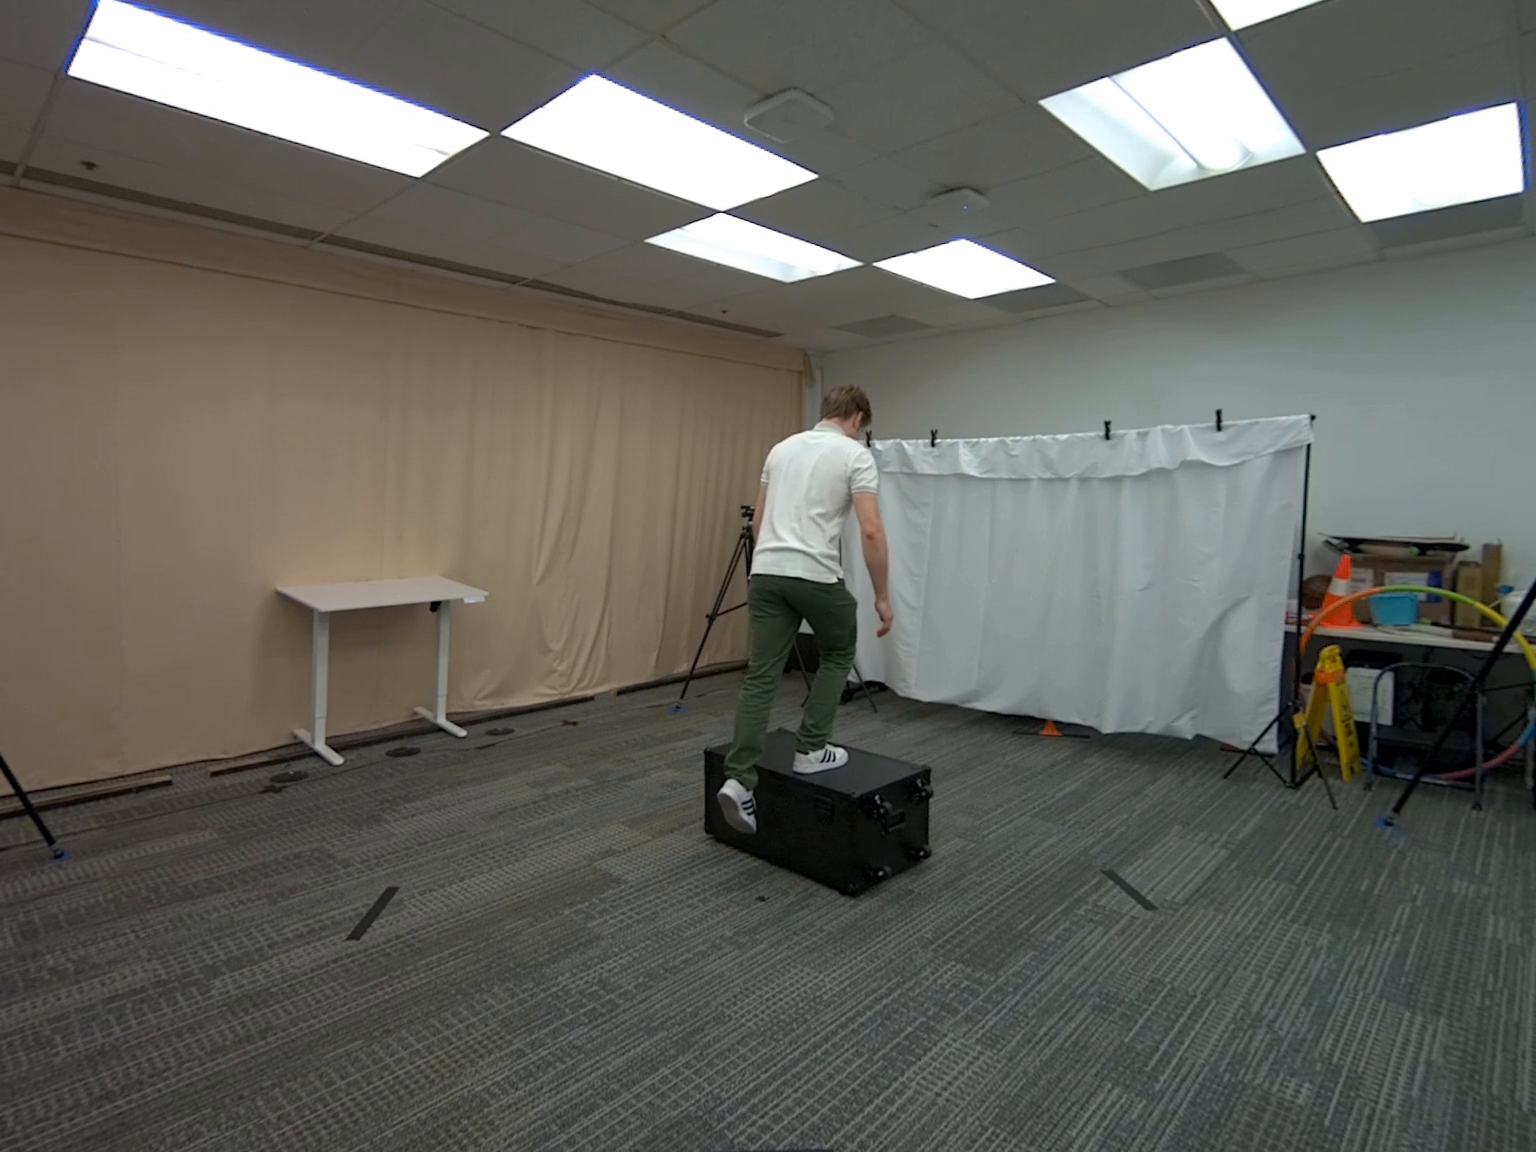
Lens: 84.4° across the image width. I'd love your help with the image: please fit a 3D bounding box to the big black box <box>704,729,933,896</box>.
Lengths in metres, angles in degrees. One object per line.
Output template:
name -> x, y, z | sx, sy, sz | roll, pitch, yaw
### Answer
big black box -> 0.207, 0.922, 3.376 | 0.890, 0.395, 0.505 | 3, 5, 44
